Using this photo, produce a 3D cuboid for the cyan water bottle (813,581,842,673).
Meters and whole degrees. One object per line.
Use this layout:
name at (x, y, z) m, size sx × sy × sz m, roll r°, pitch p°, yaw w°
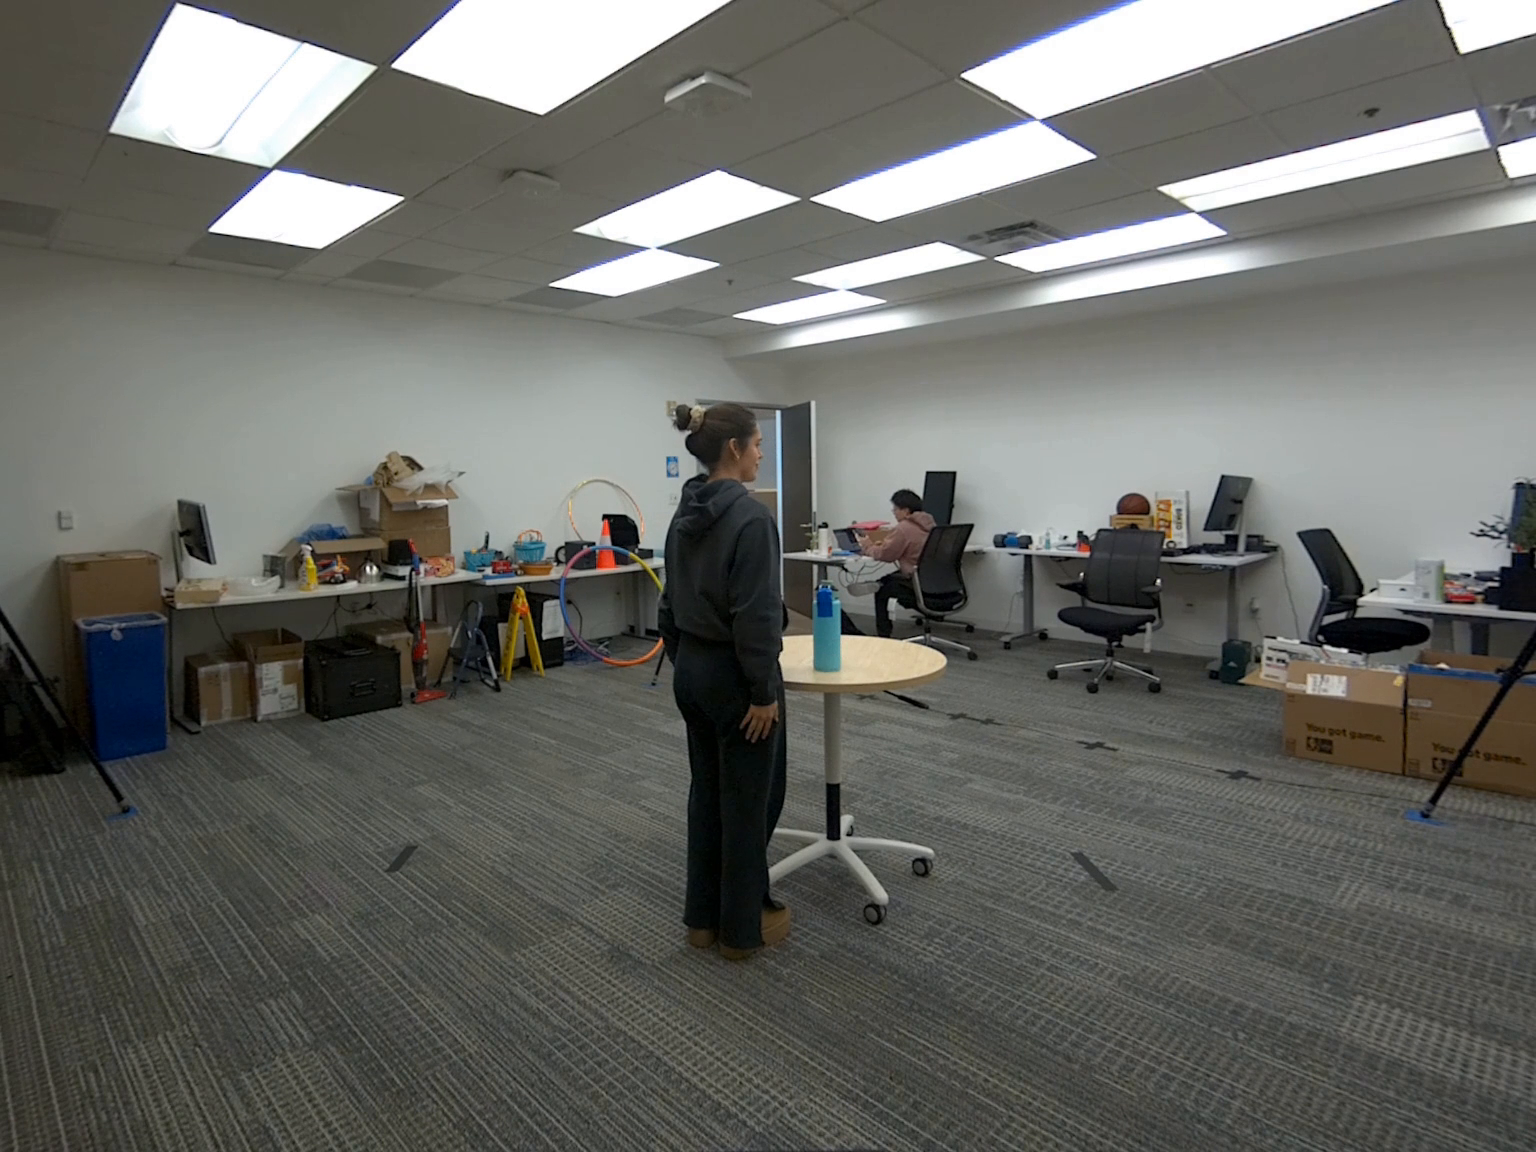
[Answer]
cyan water bottle at (0.191, 0.159, 2.732) m, size 0.092 × 0.282 × 0.093 m, roll -1°, pitch 6°, yaw -2°
